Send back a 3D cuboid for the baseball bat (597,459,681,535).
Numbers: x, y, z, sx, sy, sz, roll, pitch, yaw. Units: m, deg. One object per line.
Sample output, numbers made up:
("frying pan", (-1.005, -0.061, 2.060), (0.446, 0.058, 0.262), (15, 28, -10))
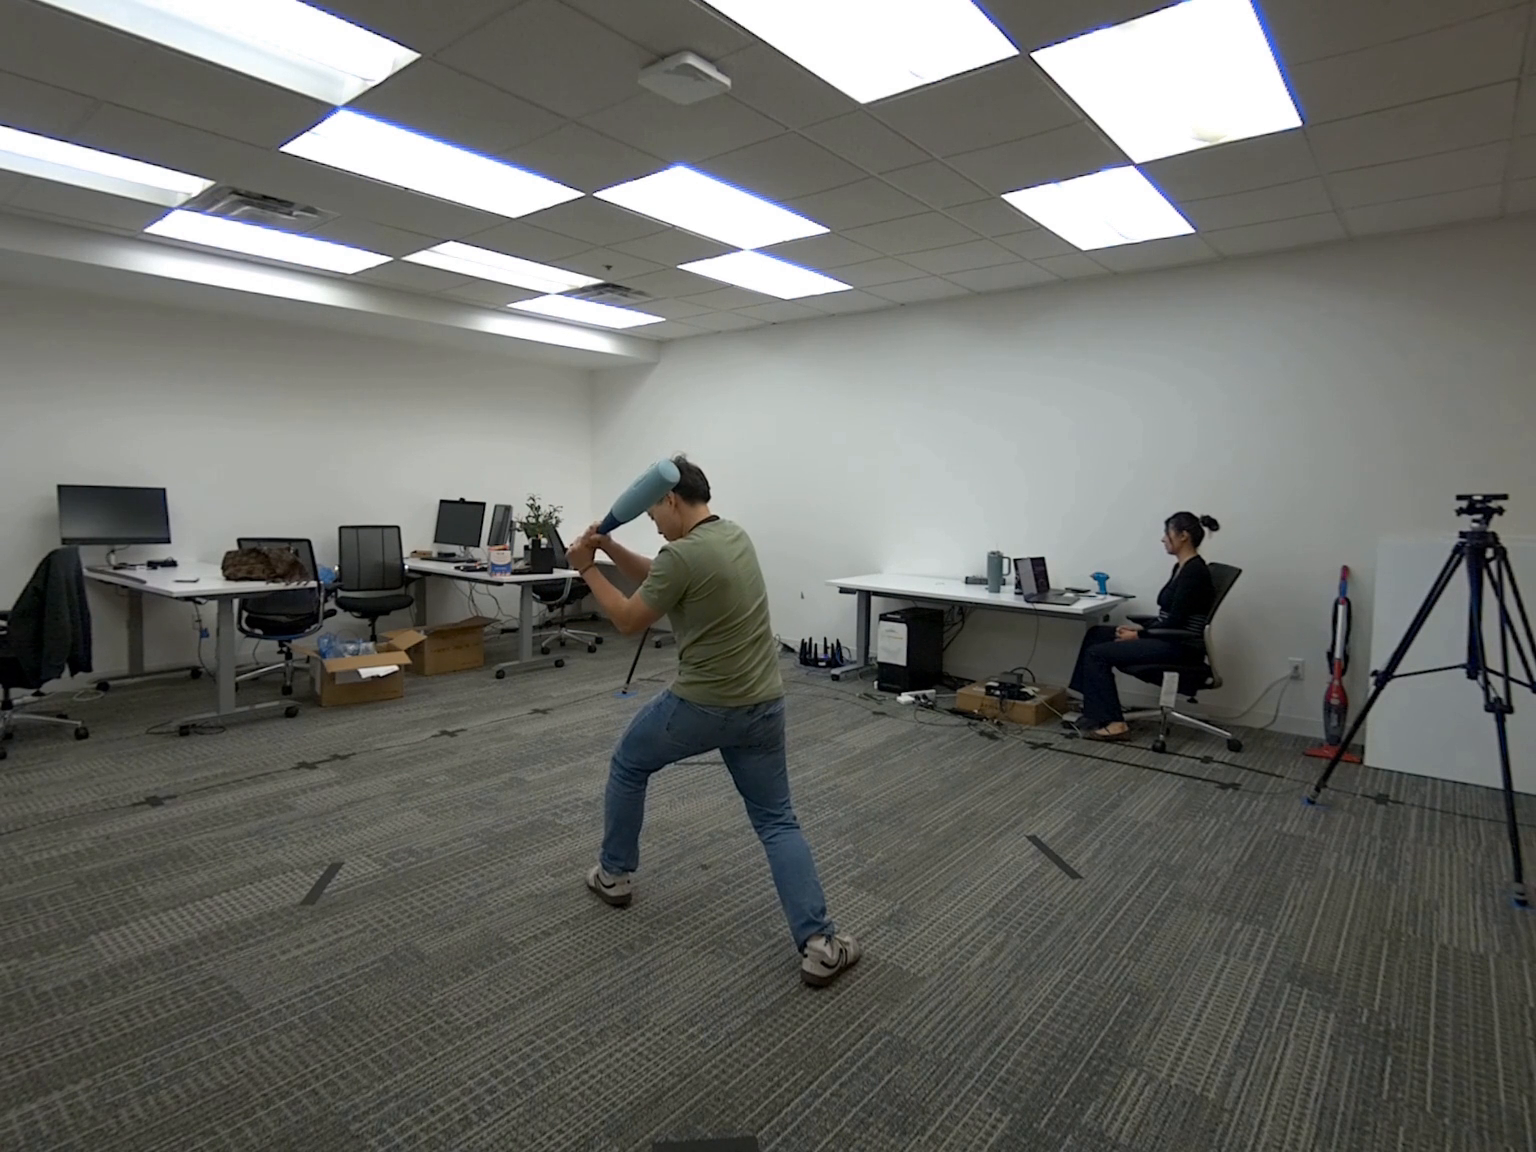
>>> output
("baseball bat", (-0.481, -0.177, 2.569), (0.086, 0.091, 0.546), (-3, -27, -46))
